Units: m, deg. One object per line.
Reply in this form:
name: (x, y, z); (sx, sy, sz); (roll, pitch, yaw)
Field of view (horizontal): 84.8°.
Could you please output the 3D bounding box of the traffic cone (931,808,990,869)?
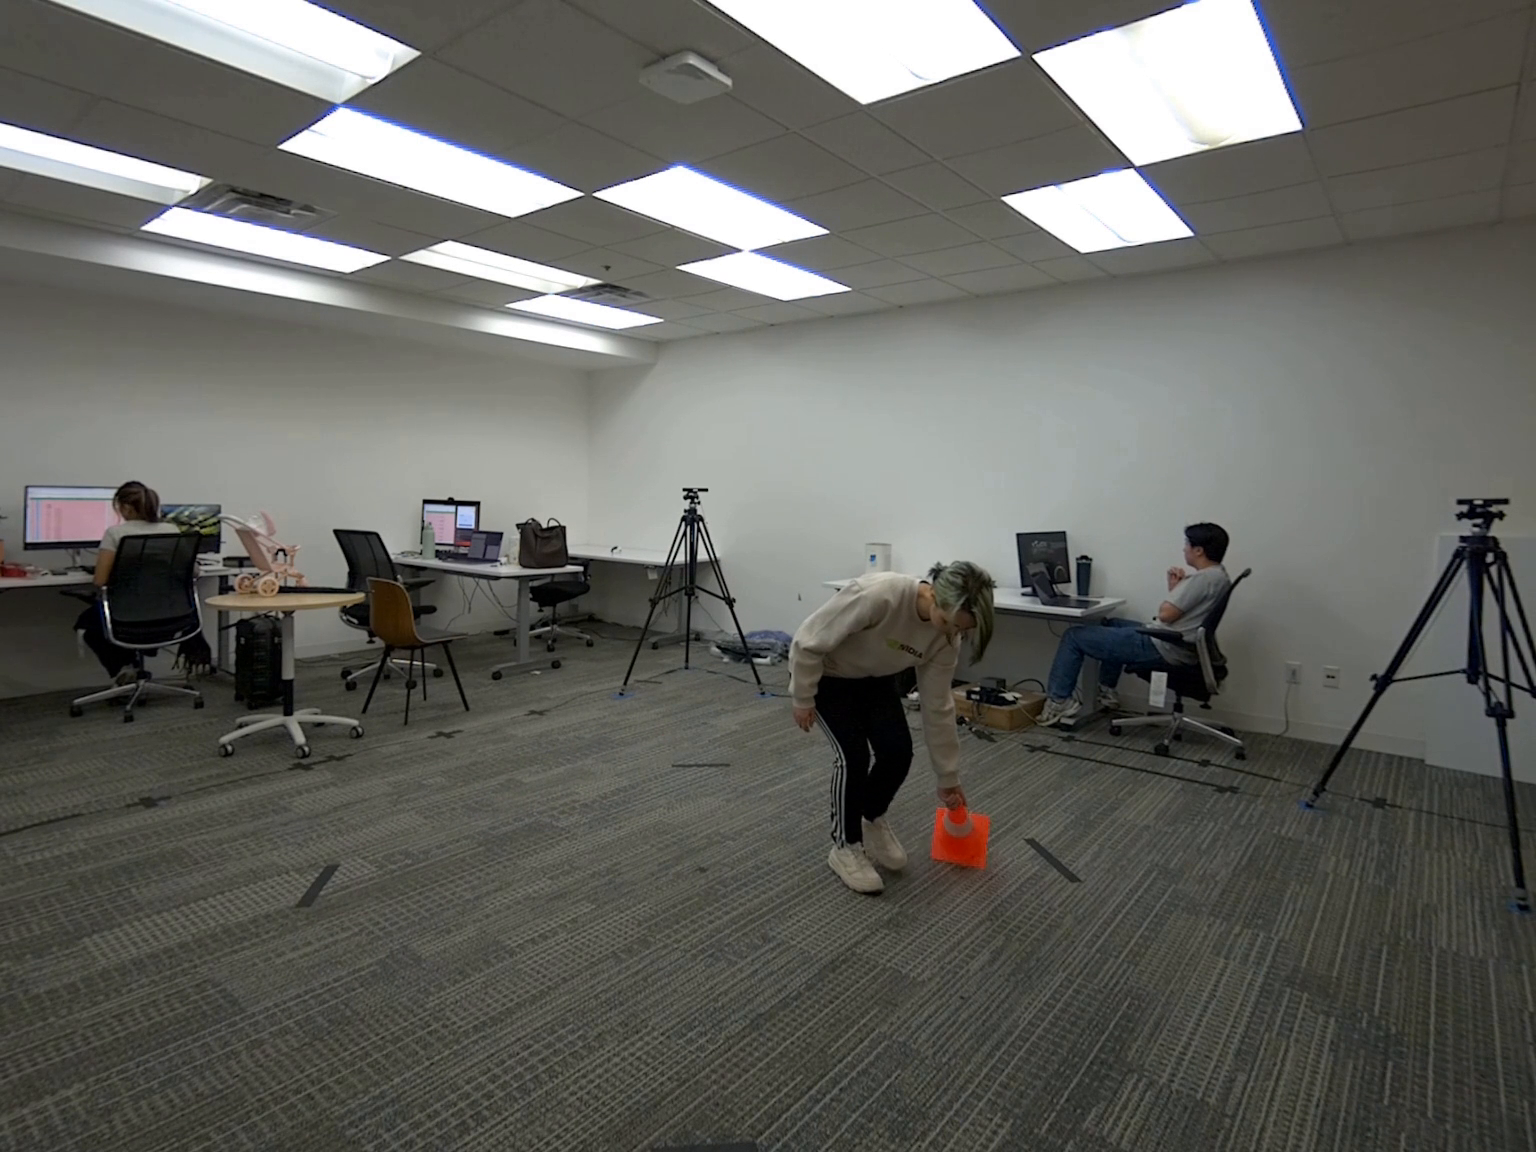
traffic cone: (0.691, 0.894, 3.118); (0.209, 0.207, 0.369); (4, -31, 17)
